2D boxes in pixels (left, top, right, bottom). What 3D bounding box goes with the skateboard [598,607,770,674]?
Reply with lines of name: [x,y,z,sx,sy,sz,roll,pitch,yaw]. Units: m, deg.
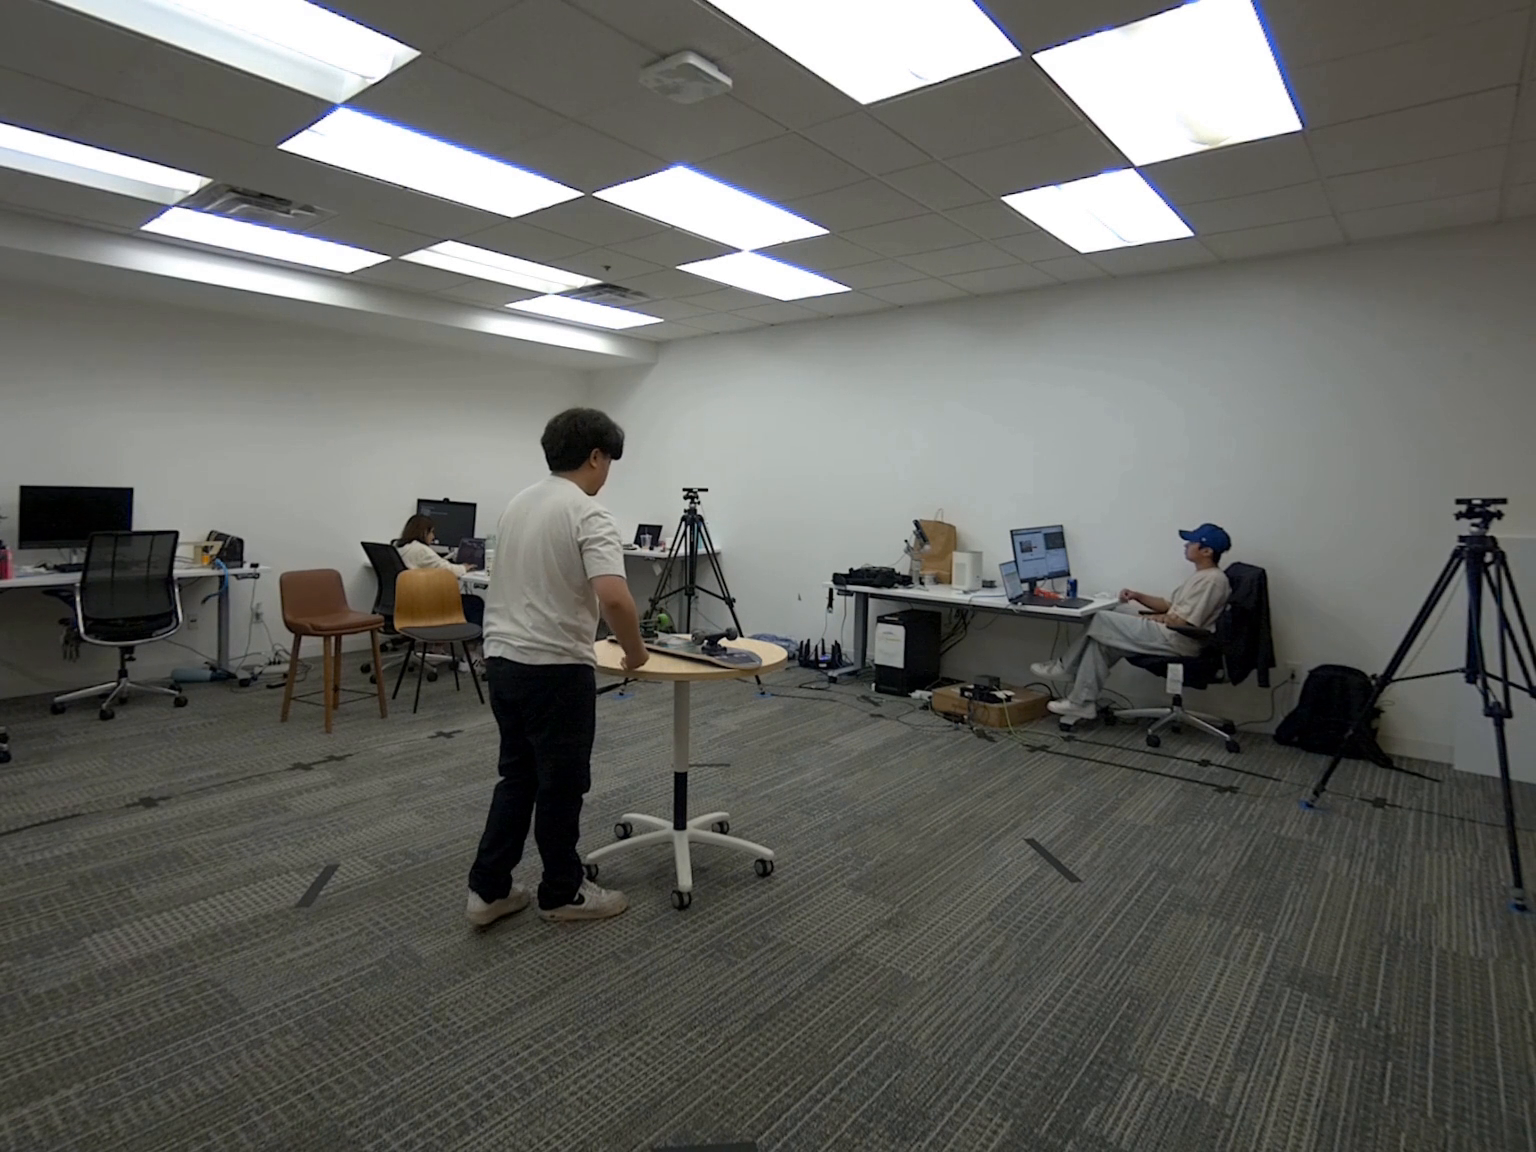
skateboard: [-0.335,0.220,3.087,0.188,0.110,0.812,-5,8,-41]
